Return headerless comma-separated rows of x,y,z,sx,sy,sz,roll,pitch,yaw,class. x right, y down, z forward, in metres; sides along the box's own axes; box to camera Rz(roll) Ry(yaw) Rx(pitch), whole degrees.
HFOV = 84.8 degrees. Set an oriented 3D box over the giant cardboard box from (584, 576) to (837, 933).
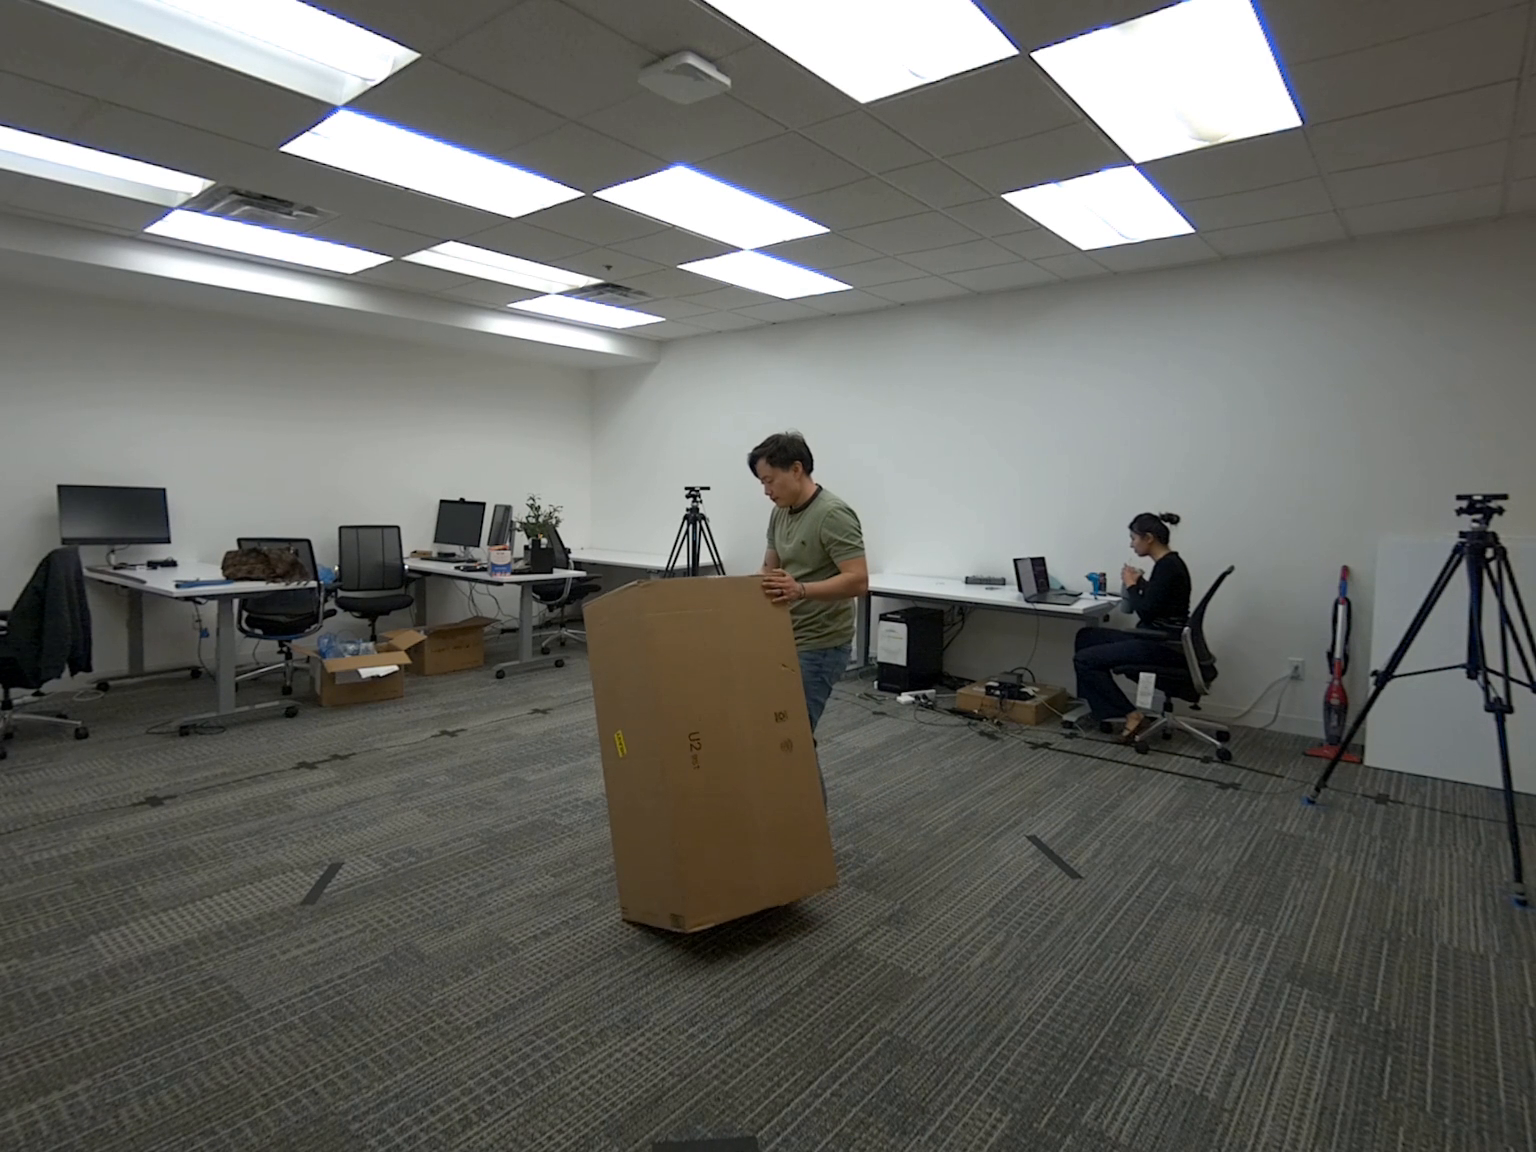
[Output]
-0.221,0.543,2.826,0.561,1.040,0.433,-1,-14,-35,giant cardboard box
